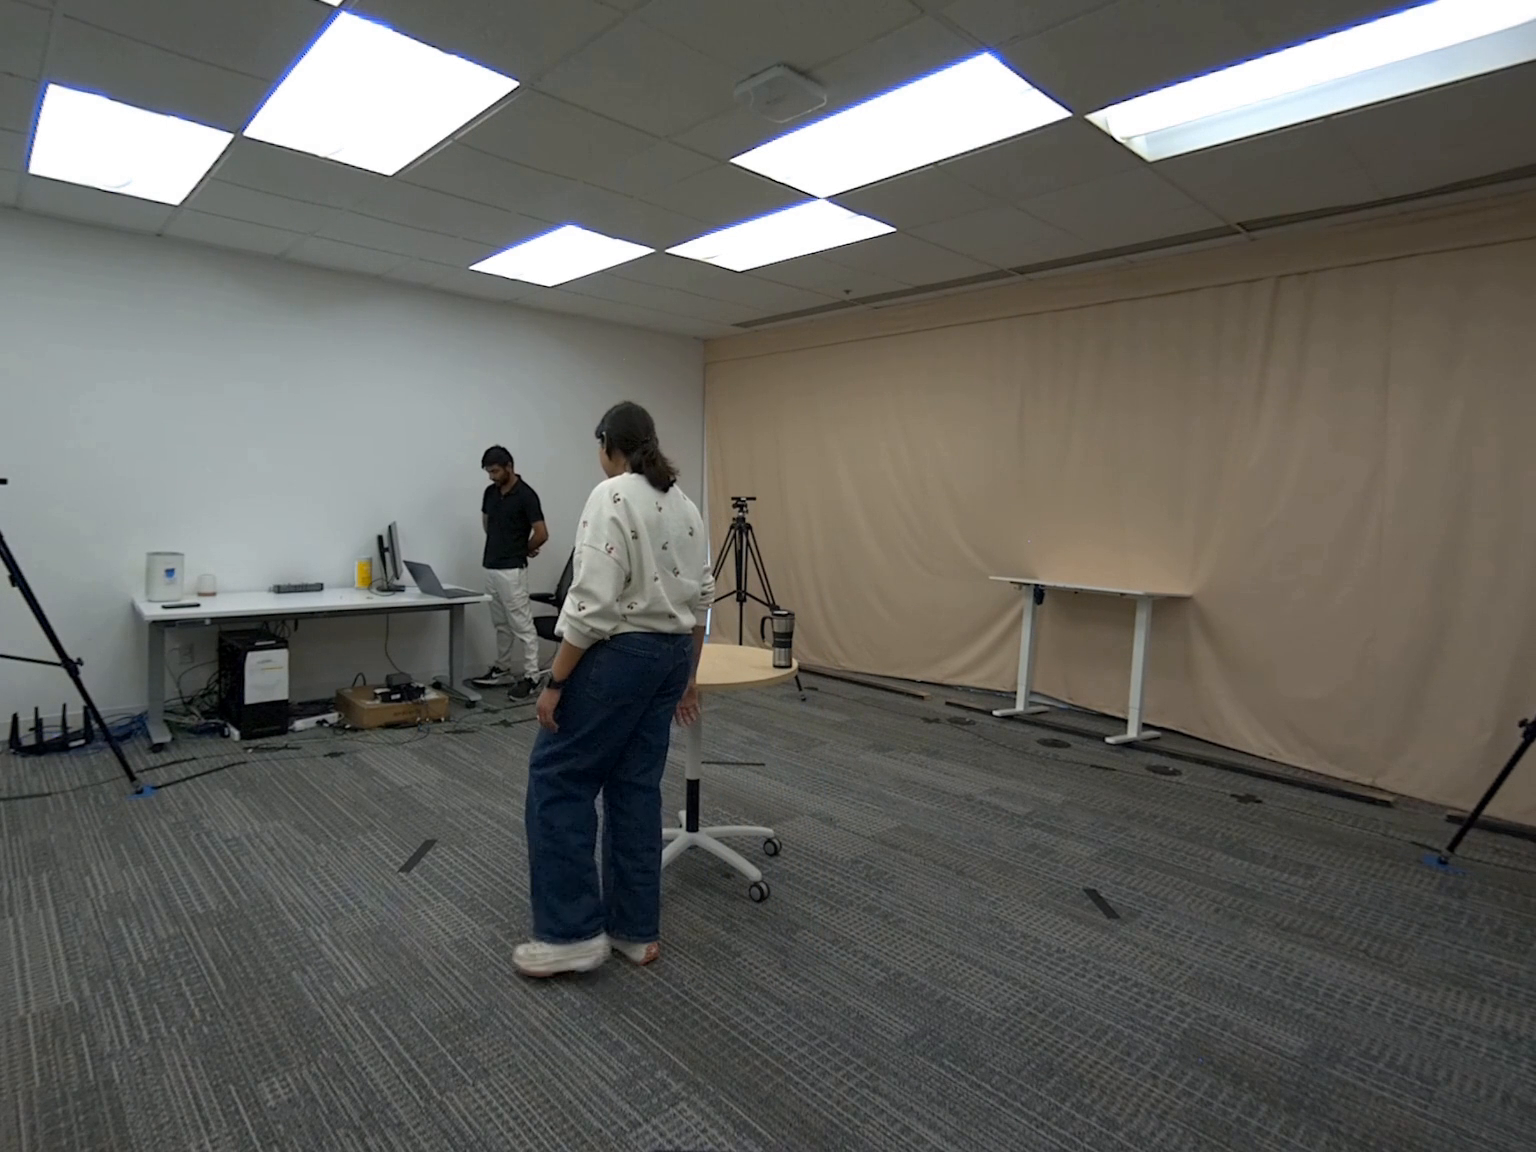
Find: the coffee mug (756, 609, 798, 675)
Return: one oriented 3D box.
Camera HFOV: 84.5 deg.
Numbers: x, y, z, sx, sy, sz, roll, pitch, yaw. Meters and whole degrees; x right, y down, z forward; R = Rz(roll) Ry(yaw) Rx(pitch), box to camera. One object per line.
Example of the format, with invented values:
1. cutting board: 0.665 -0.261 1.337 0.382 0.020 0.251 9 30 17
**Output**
1. coffee mug: 0.030 0.233 3.053 0.125 0.201 0.086 6 11 33
